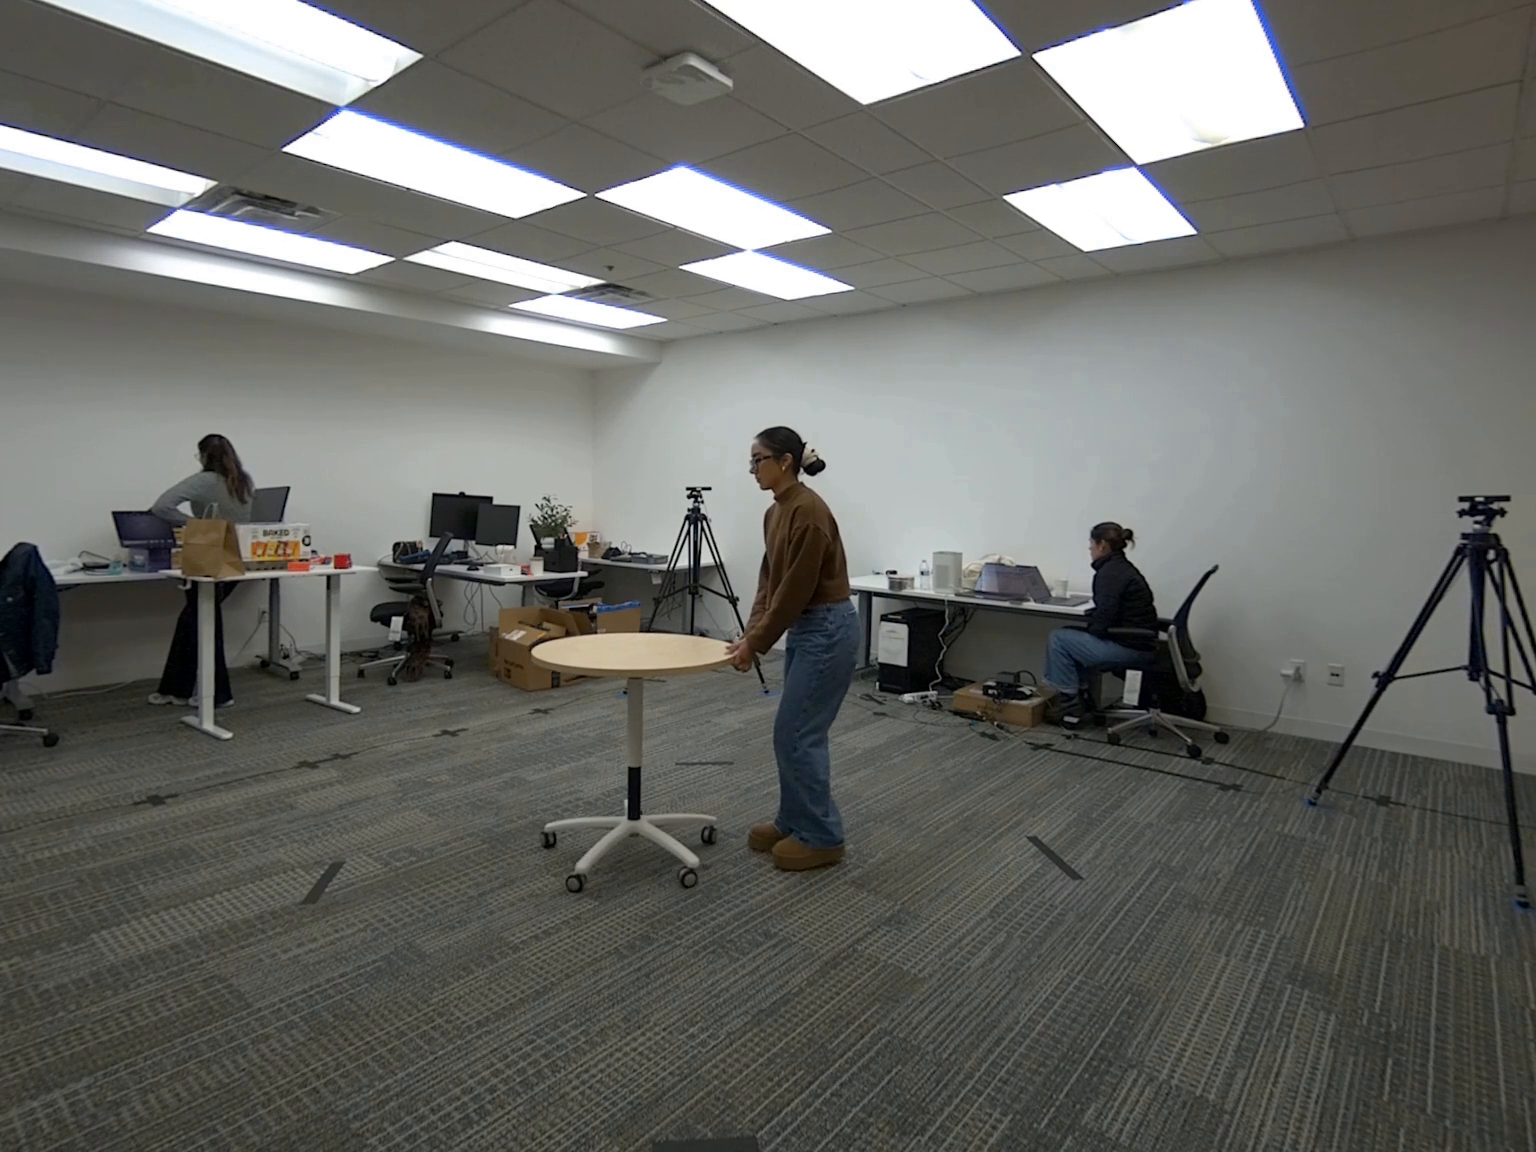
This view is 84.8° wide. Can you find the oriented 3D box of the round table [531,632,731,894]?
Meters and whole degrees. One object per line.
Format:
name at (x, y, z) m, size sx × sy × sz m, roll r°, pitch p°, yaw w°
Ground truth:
round table at (-0.529, 0.661, 3.204) m, size 0.784 × 0.784 × 0.789 m, roll 1°, pitch 4°, yaw -2°
